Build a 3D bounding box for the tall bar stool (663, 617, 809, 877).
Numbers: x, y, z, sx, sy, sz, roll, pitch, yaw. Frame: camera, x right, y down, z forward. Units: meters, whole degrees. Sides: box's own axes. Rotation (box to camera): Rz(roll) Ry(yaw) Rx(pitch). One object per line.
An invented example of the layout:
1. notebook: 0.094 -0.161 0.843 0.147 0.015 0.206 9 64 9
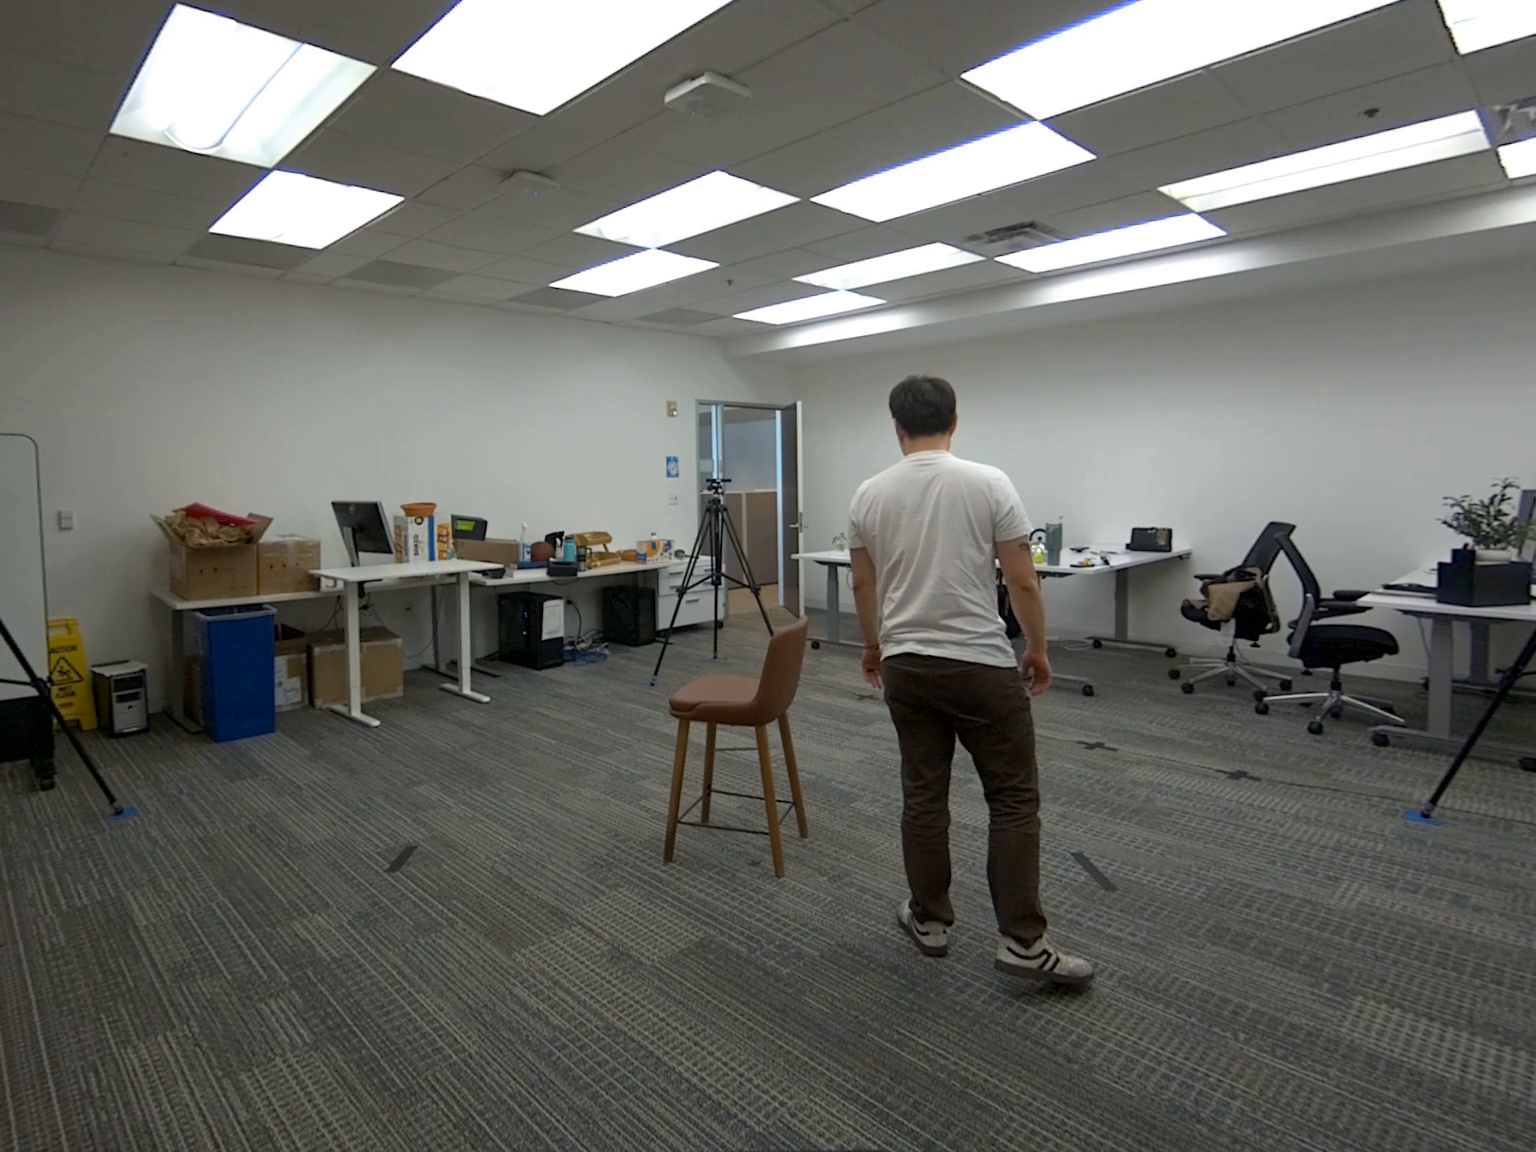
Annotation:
1. tall bar stool: -0.110 0.600 3.213 0.477 0.886 0.449 2 5 20
